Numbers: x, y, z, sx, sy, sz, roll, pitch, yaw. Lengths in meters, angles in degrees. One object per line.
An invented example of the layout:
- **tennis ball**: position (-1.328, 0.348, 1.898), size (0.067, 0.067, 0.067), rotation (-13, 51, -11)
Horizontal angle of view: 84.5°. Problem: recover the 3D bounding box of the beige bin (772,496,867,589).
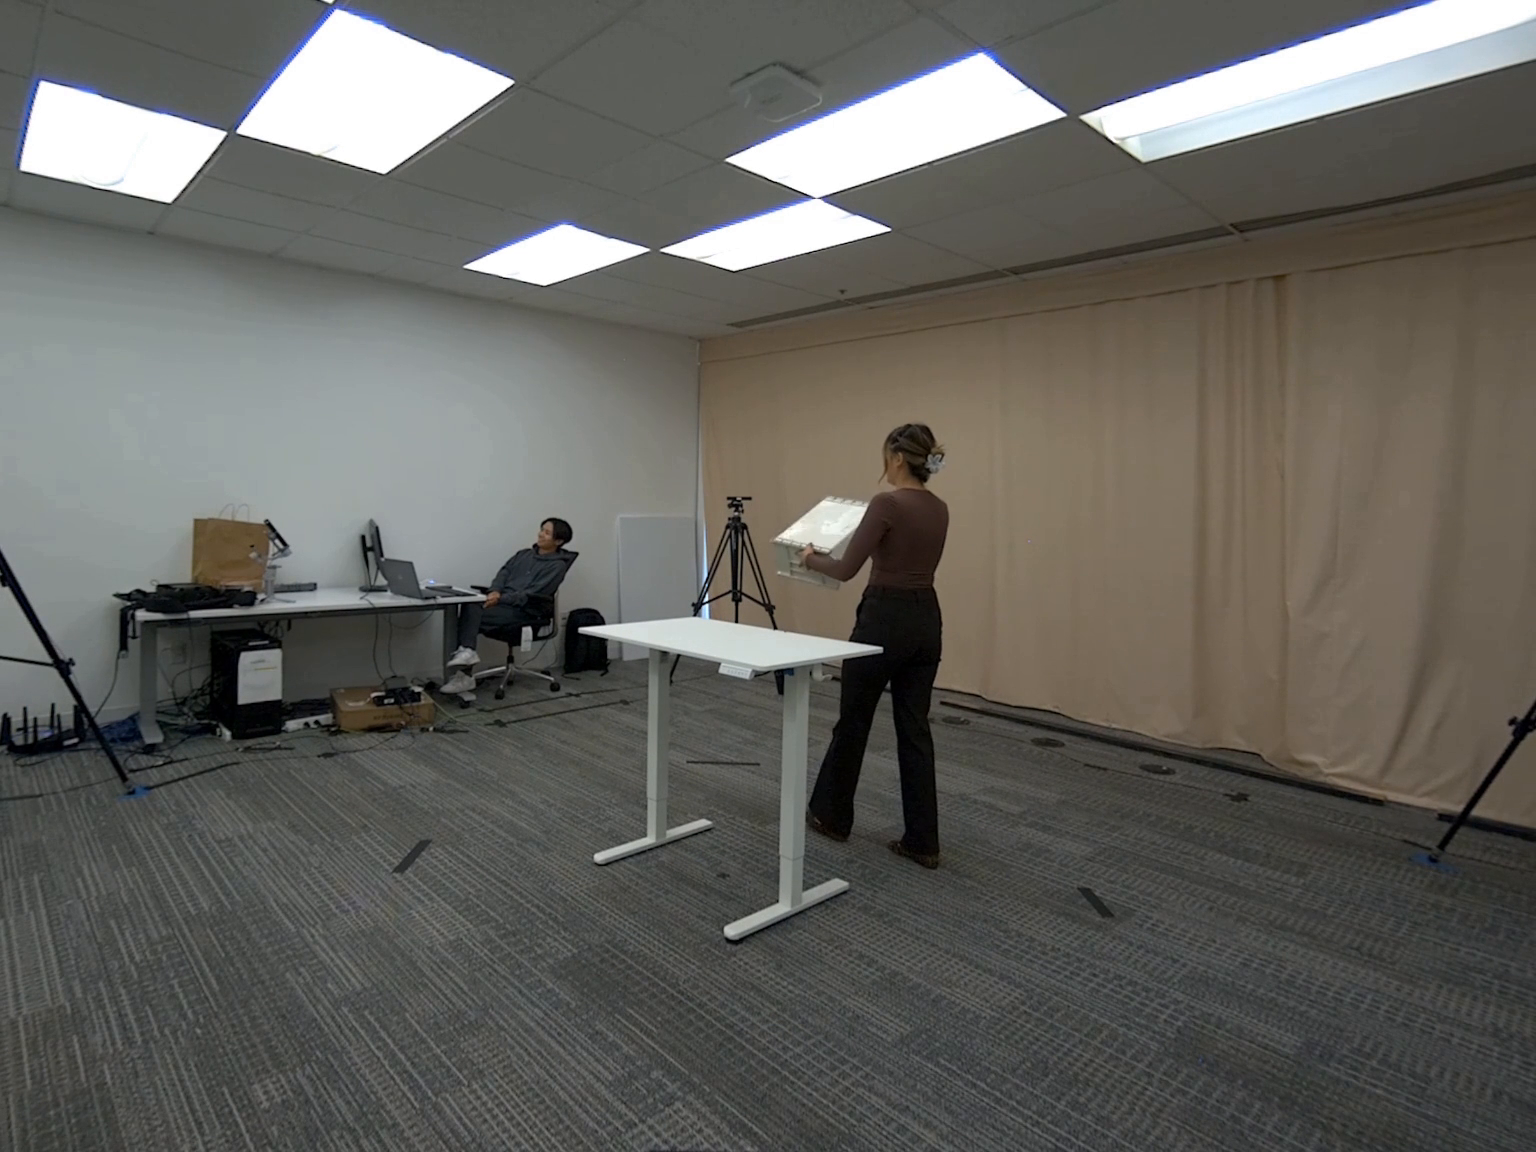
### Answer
- **beige bin**: position (0.281, -0.144, 3.647), size (0.388, 0.184, 0.420), rotation (16, 43, 40)
